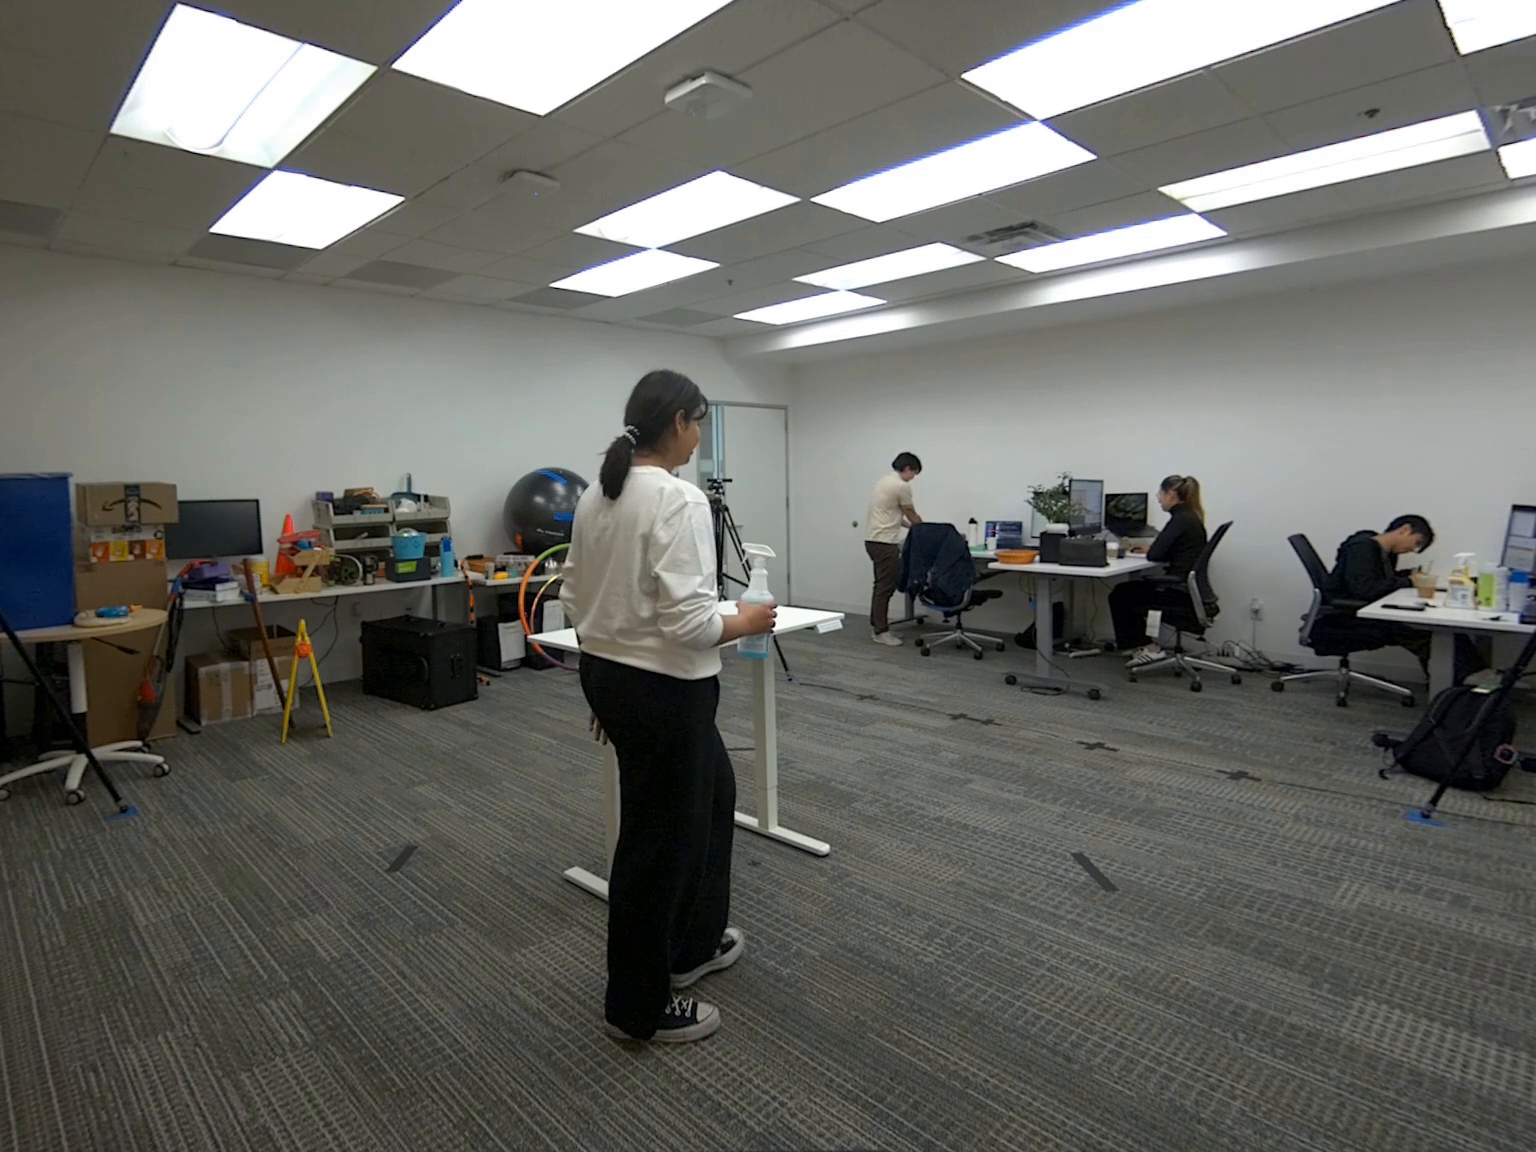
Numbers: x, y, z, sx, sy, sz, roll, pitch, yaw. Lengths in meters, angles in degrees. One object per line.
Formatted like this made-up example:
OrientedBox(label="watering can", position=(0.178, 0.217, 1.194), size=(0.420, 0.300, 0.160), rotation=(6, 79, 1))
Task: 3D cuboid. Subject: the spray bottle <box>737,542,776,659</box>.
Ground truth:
OrientedBox(label="spray bottle", position=(-0.033, 0.061, 2.278), size=(0.092, 0.296, 0.085), rotation=(3, 4, 32))
